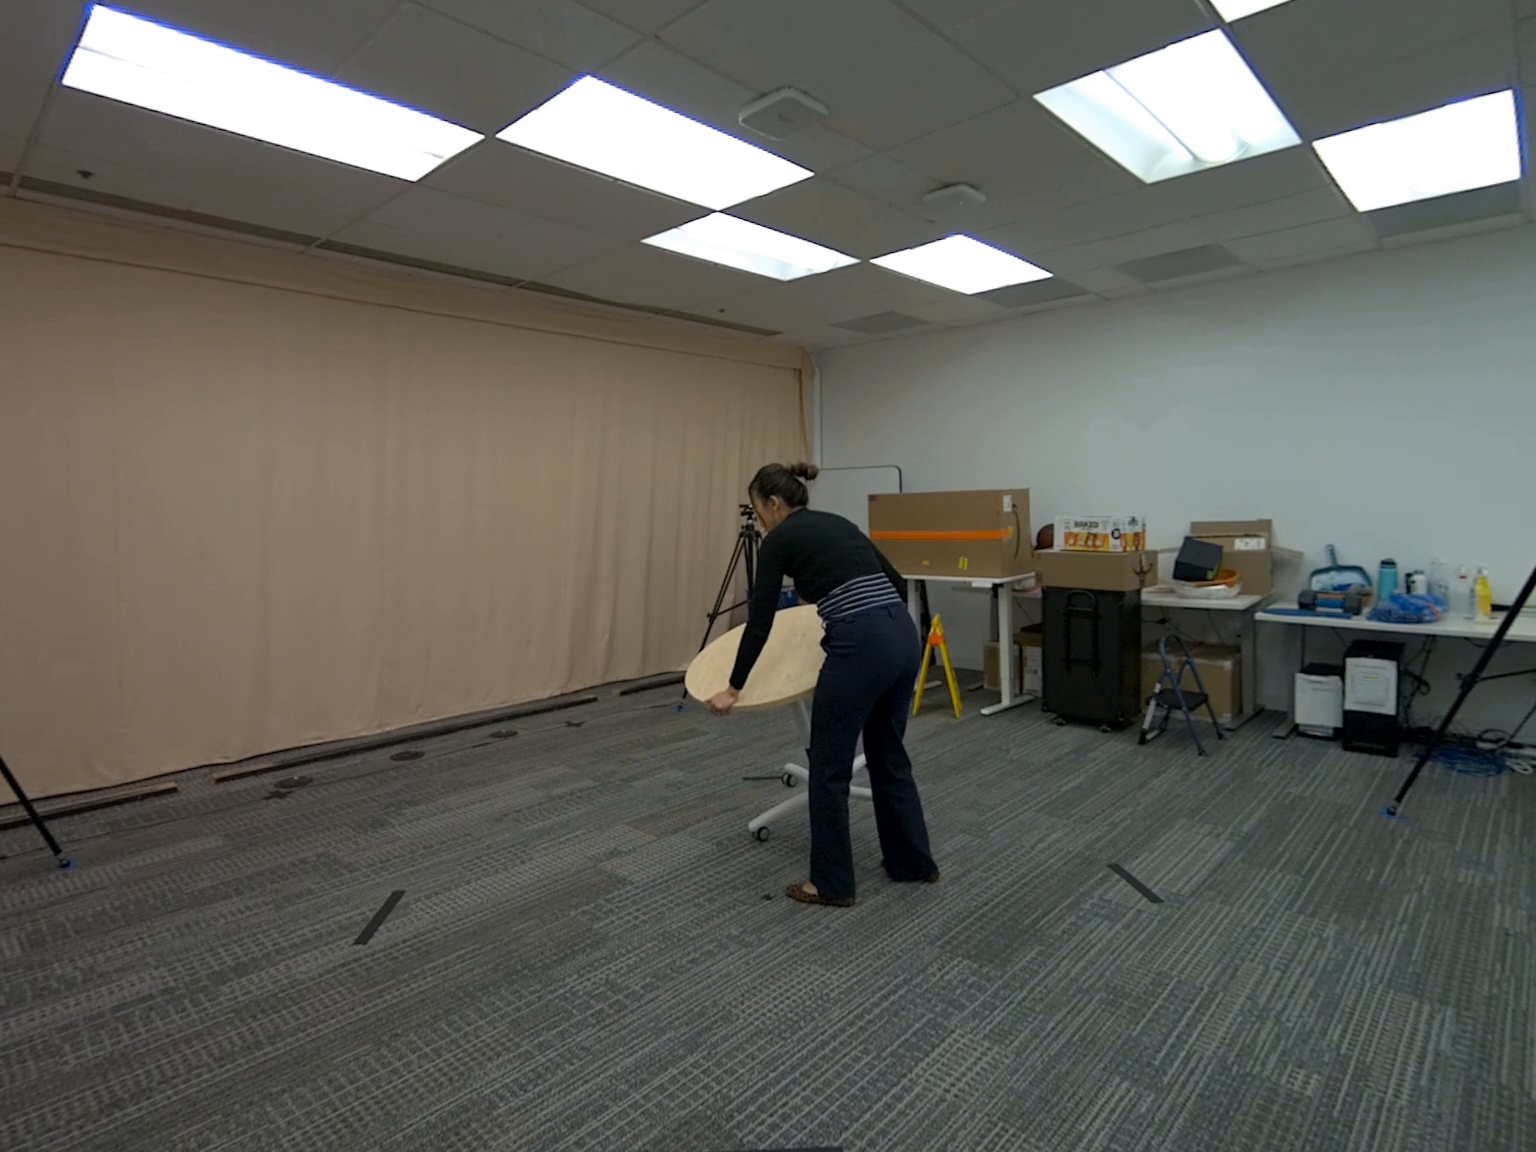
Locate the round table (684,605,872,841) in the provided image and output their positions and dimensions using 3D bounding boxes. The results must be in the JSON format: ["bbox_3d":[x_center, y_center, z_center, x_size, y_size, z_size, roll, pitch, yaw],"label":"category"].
[{"bbox_3d":[0.162,0.643,3.389,0.767,0.781,0.773,-18,18,4],"label":"round table"}]
